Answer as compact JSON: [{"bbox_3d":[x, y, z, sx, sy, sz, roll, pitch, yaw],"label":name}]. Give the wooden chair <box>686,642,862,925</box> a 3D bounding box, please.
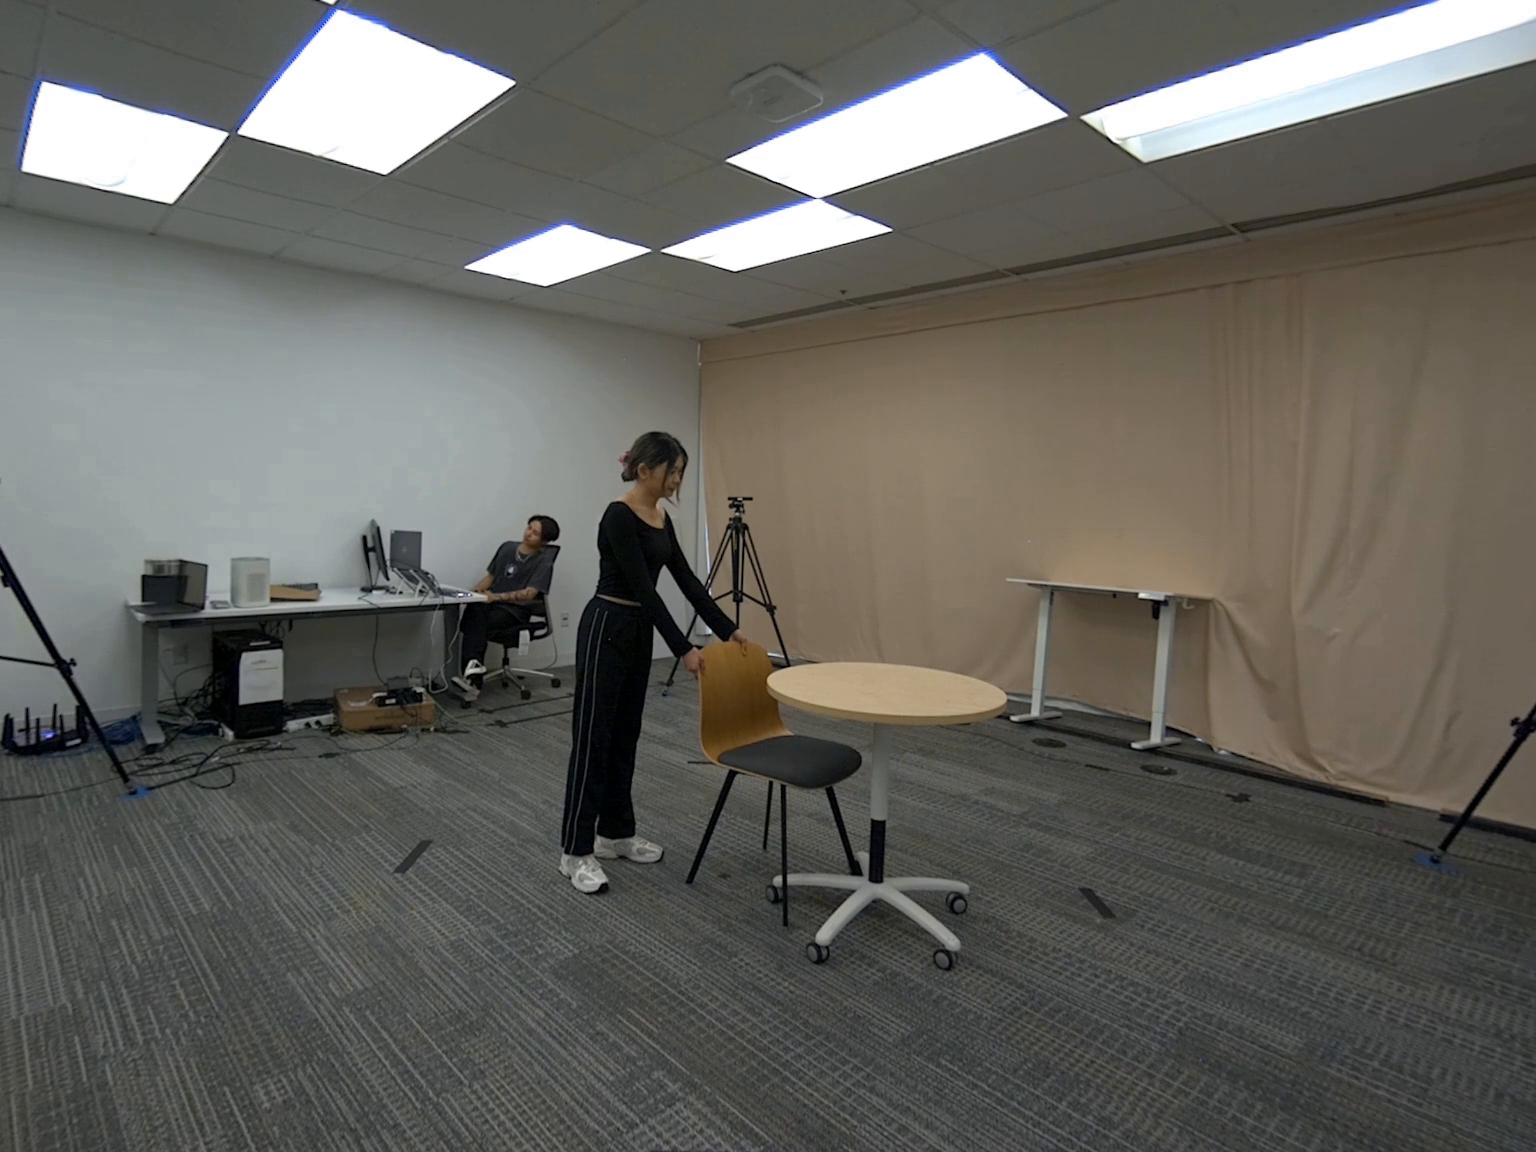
[{"bbox_3d":[0.029,0.686,3.025,0.535,0.878,0.467,-2,0,41],"label":"wooden chair"}]
